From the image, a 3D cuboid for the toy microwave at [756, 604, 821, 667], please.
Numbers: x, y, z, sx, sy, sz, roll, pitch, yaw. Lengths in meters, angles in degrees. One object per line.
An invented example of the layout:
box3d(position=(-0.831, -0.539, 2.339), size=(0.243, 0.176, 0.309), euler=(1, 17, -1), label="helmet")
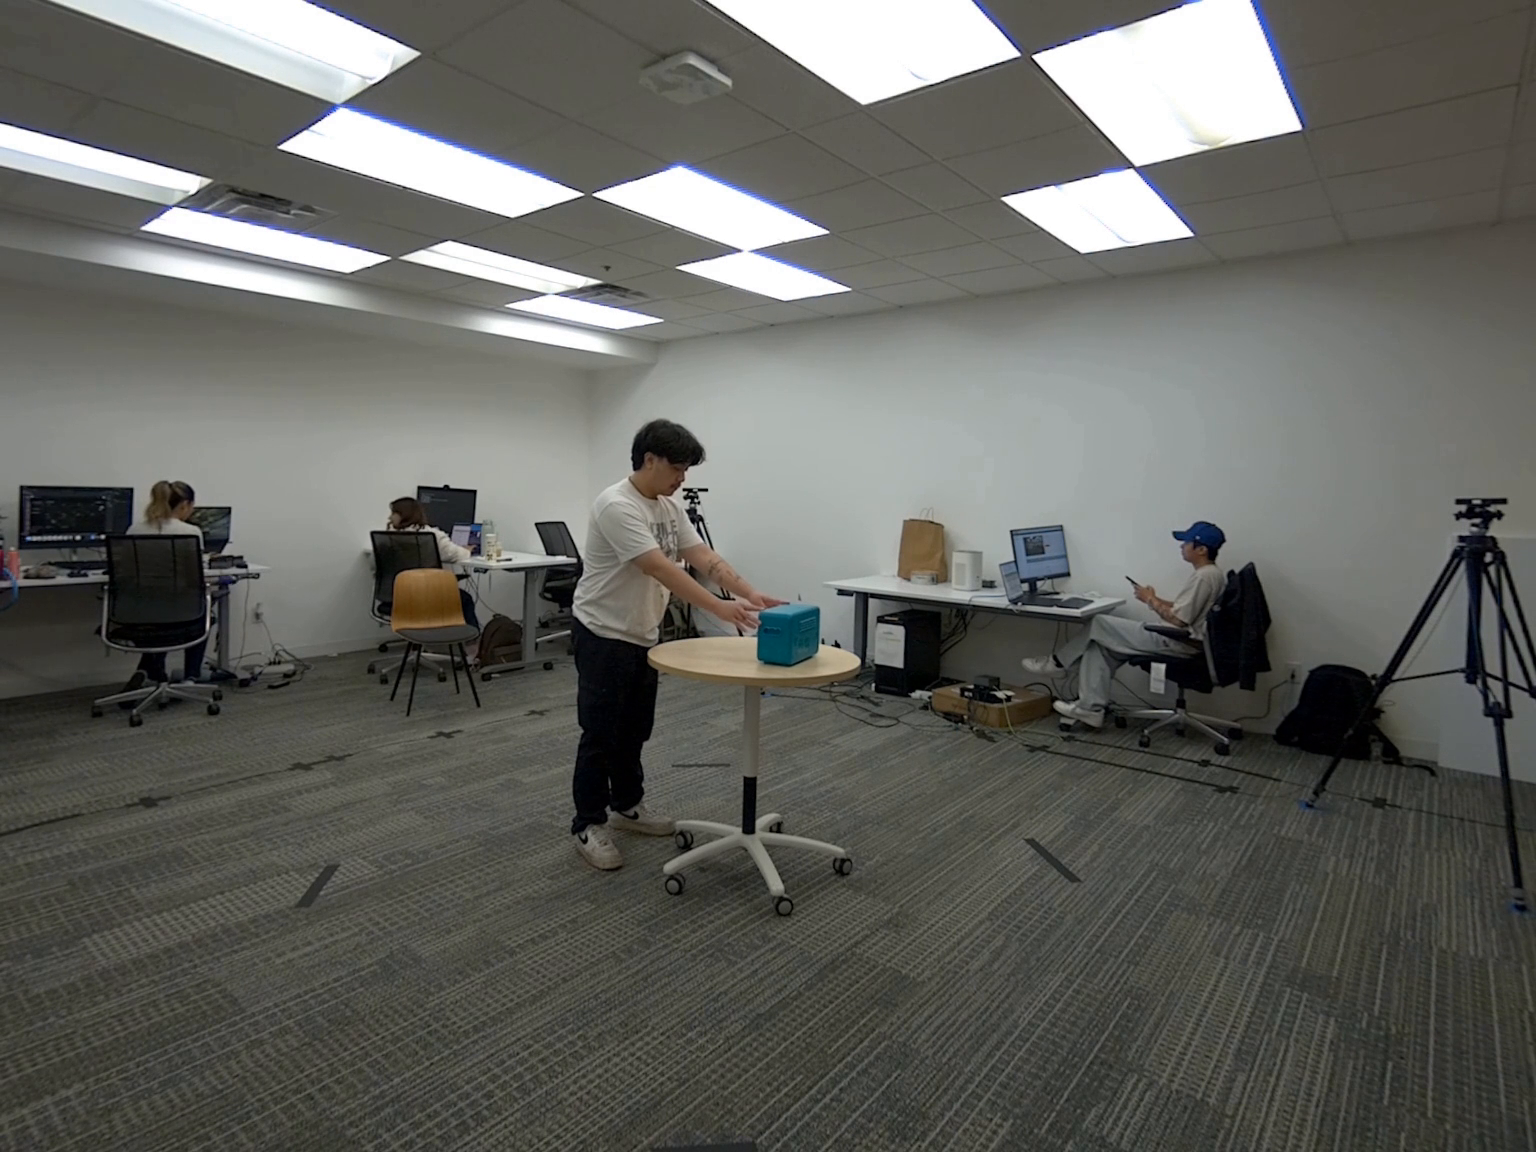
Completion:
box3d(position=(0.061, 0.200, 3.014), size=(0.156, 0.183, 0.280), euler=(3, 5, 25), label="toy microwave")
